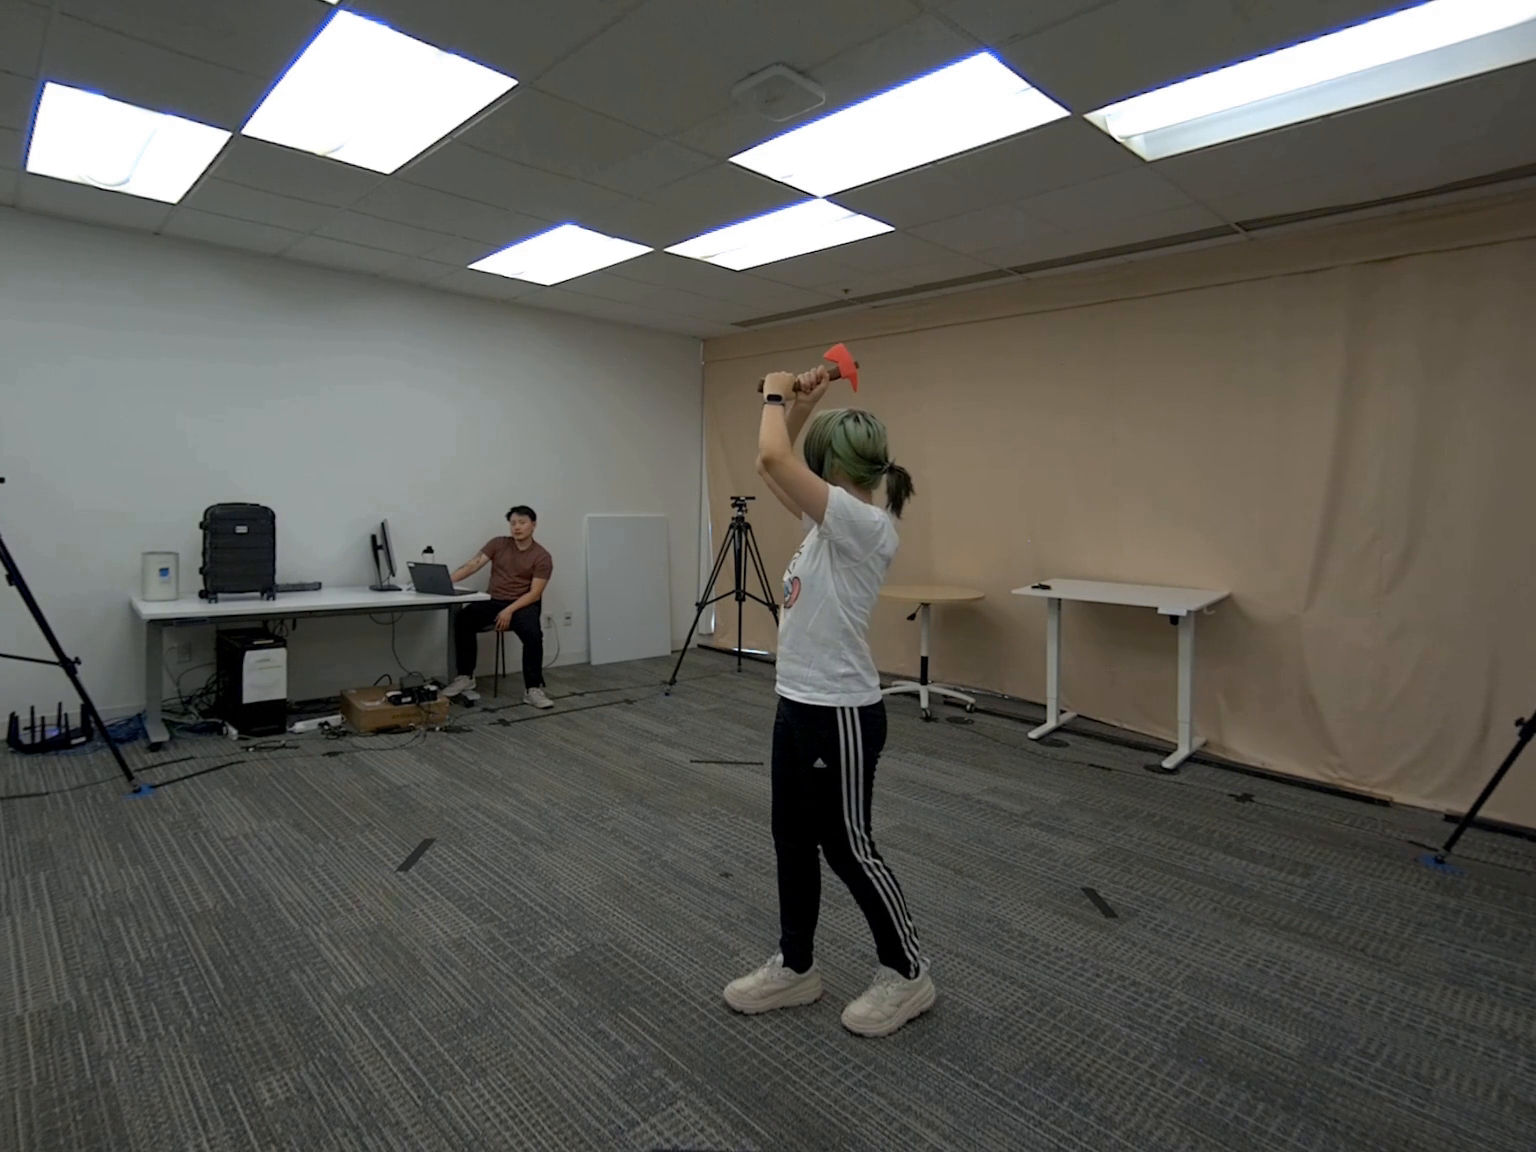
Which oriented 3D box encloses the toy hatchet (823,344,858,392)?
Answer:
[{"bbox_3d":[0.099,-0.560,2.233,0.271,0.131,0.029,2,3,5],"label":"toy hatchet"}]
